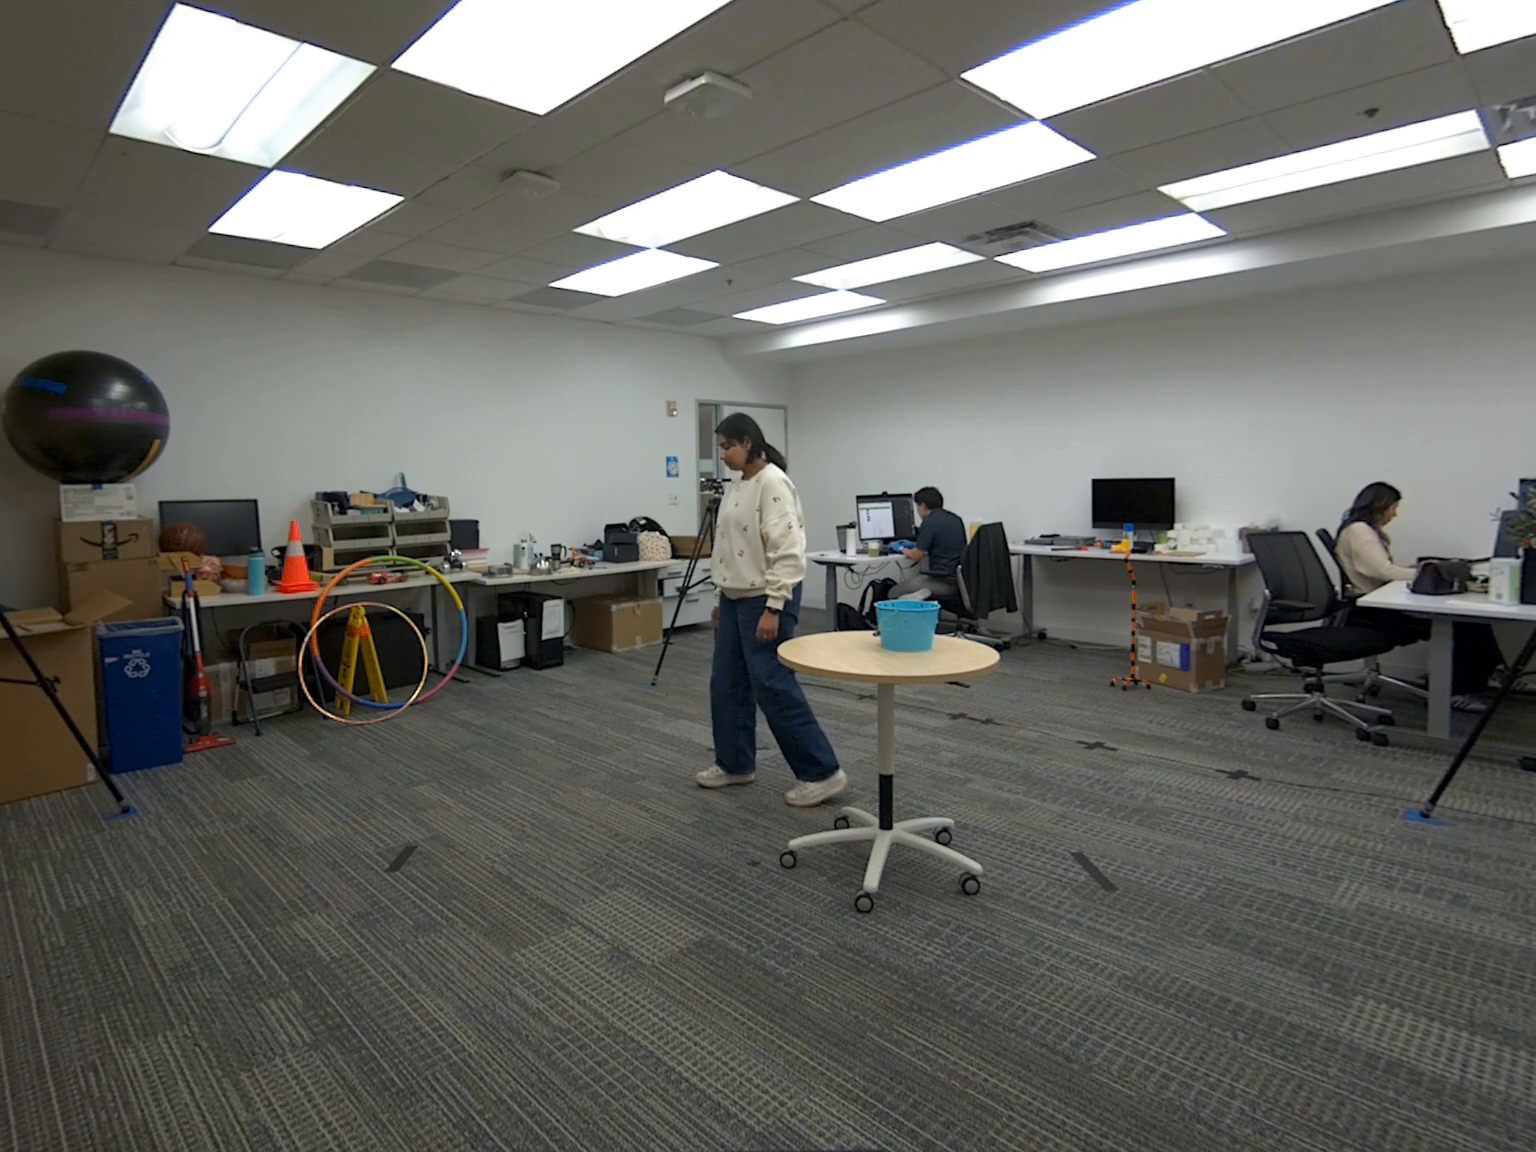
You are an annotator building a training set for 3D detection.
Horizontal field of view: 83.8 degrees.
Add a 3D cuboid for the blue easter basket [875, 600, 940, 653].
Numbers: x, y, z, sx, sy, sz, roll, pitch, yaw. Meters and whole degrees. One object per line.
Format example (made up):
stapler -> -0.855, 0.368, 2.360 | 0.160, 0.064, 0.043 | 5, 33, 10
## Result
blue easter basket -> 0.509, 0.184, 3.082 | 0.243, 0.155, 0.245 | 1, 7, -2
